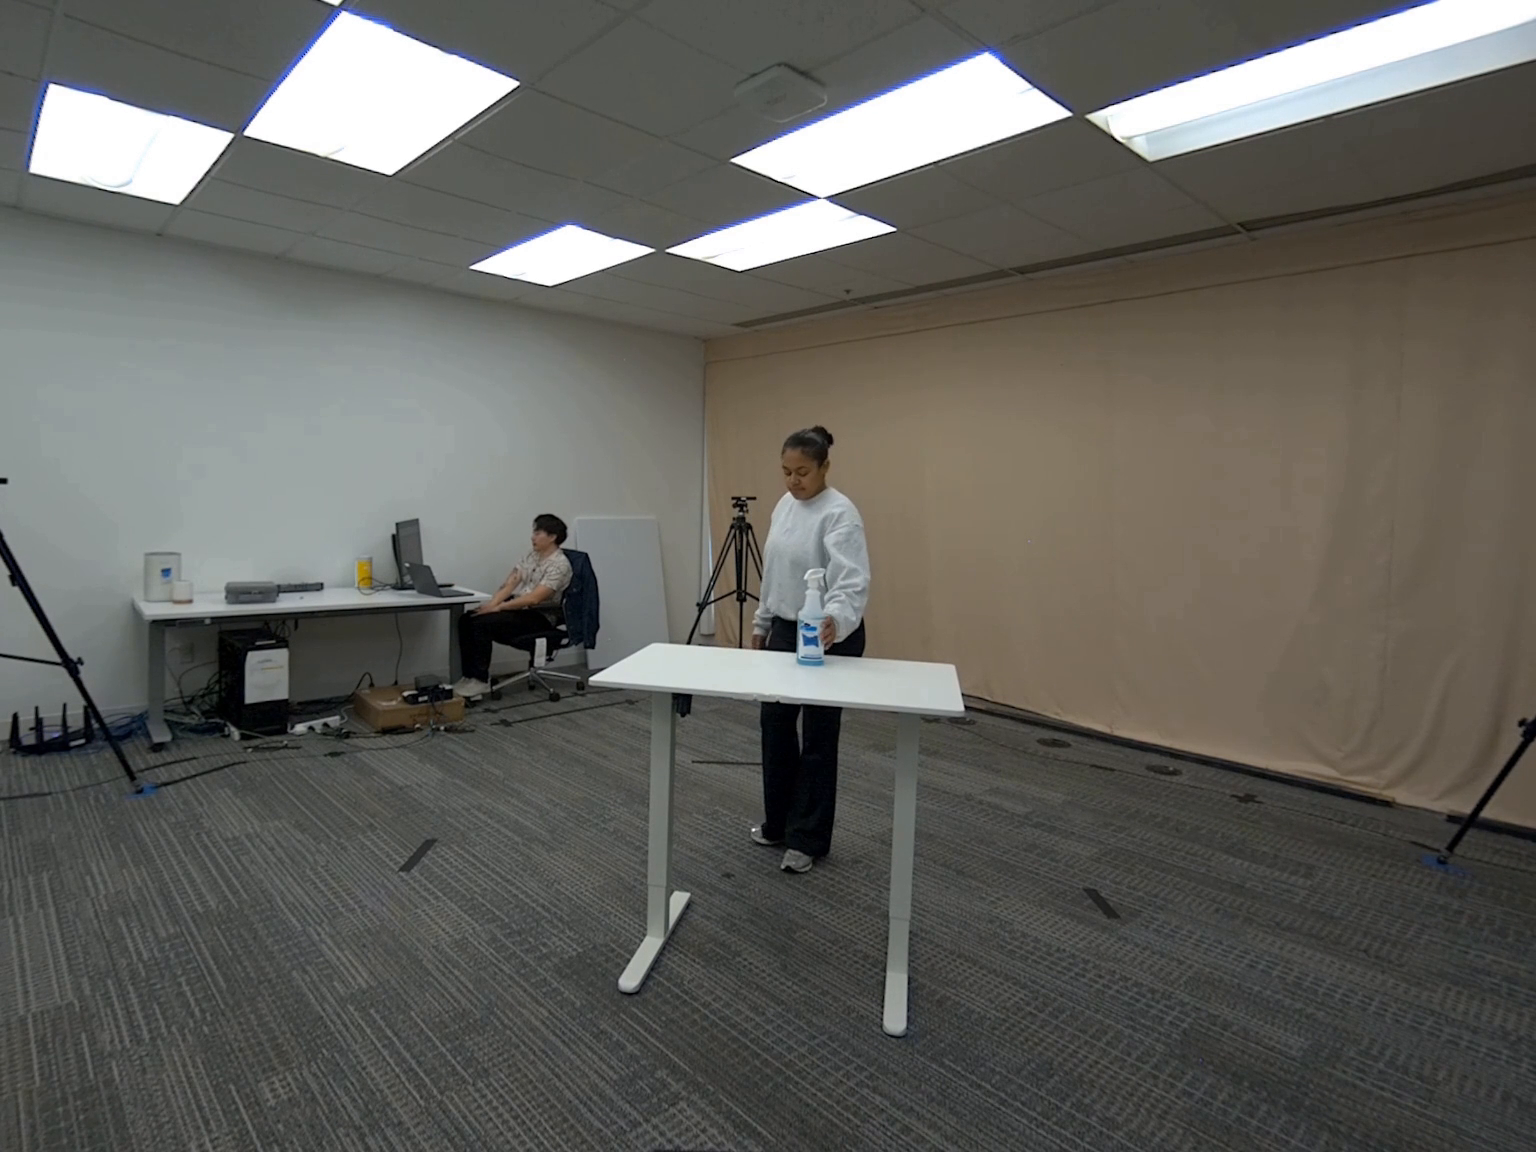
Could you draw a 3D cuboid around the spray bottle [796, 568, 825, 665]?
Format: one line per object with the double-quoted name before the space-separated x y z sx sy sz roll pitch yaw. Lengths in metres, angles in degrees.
"spray bottle" 0.122 0.121 2.637 0.088 0.296 0.088 2 4 -20
